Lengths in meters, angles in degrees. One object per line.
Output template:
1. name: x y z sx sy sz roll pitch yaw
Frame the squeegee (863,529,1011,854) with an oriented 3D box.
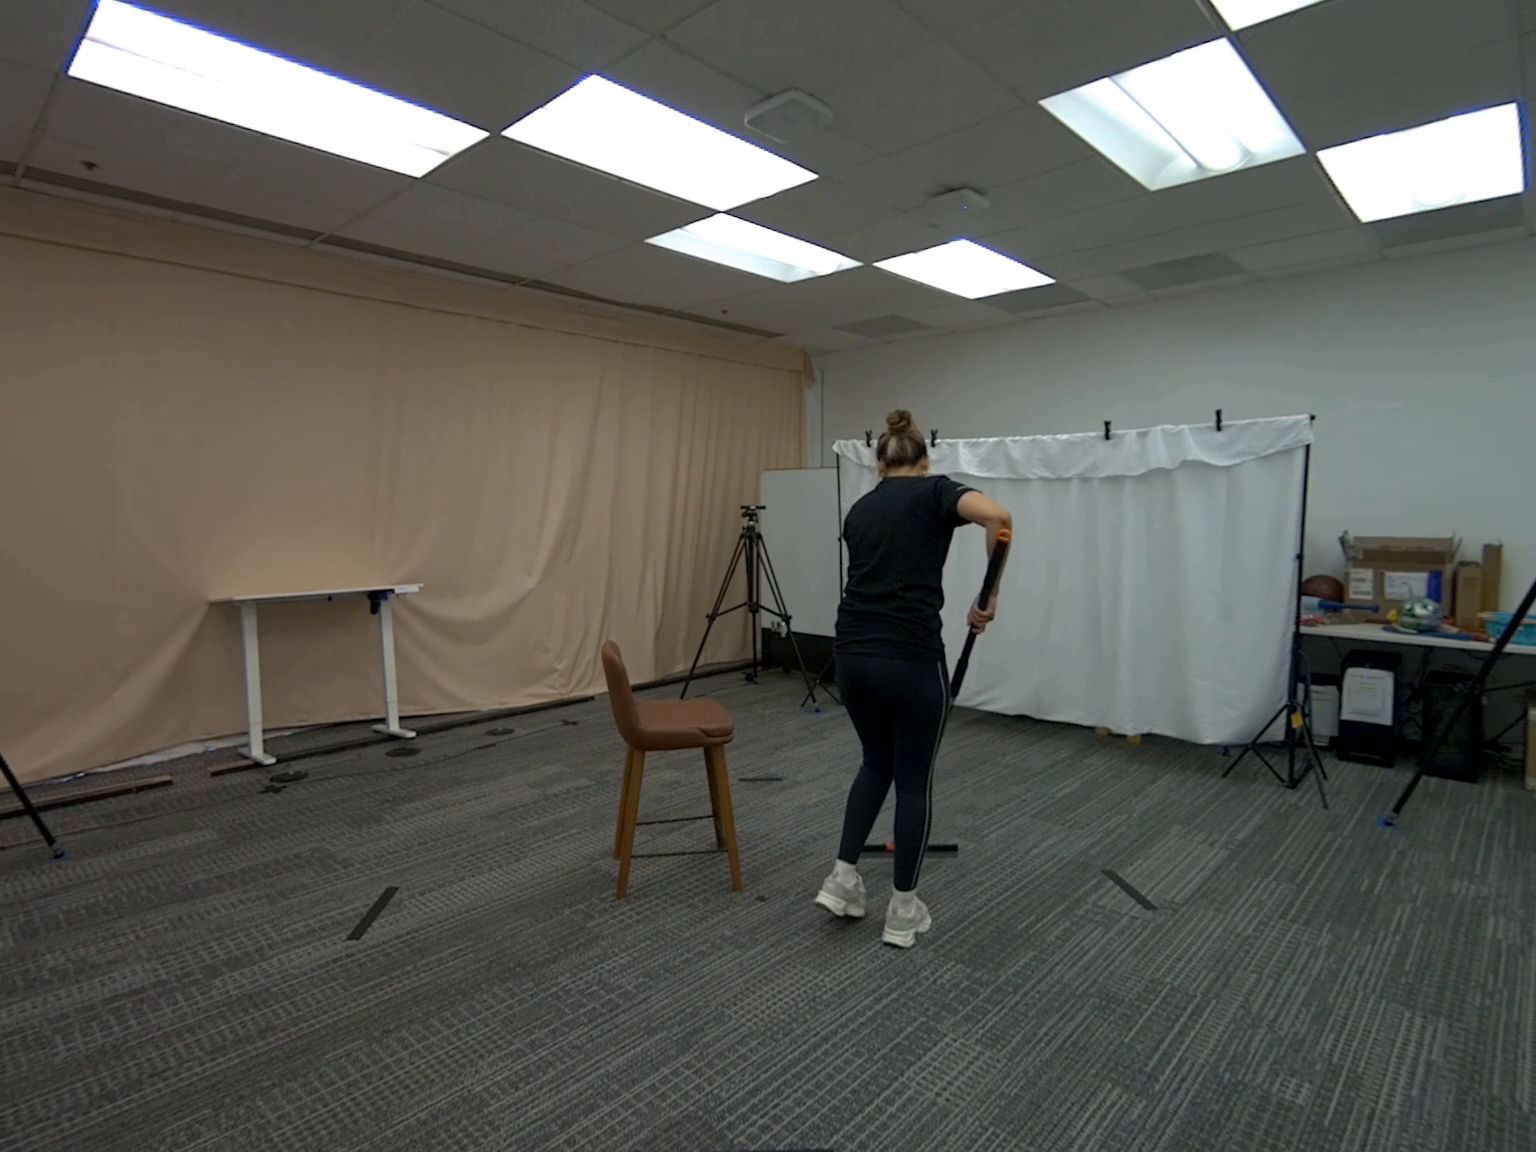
1. squeegee: 0.591 0.471 2.799 0.435 1.515 0.054 3 38 -6
